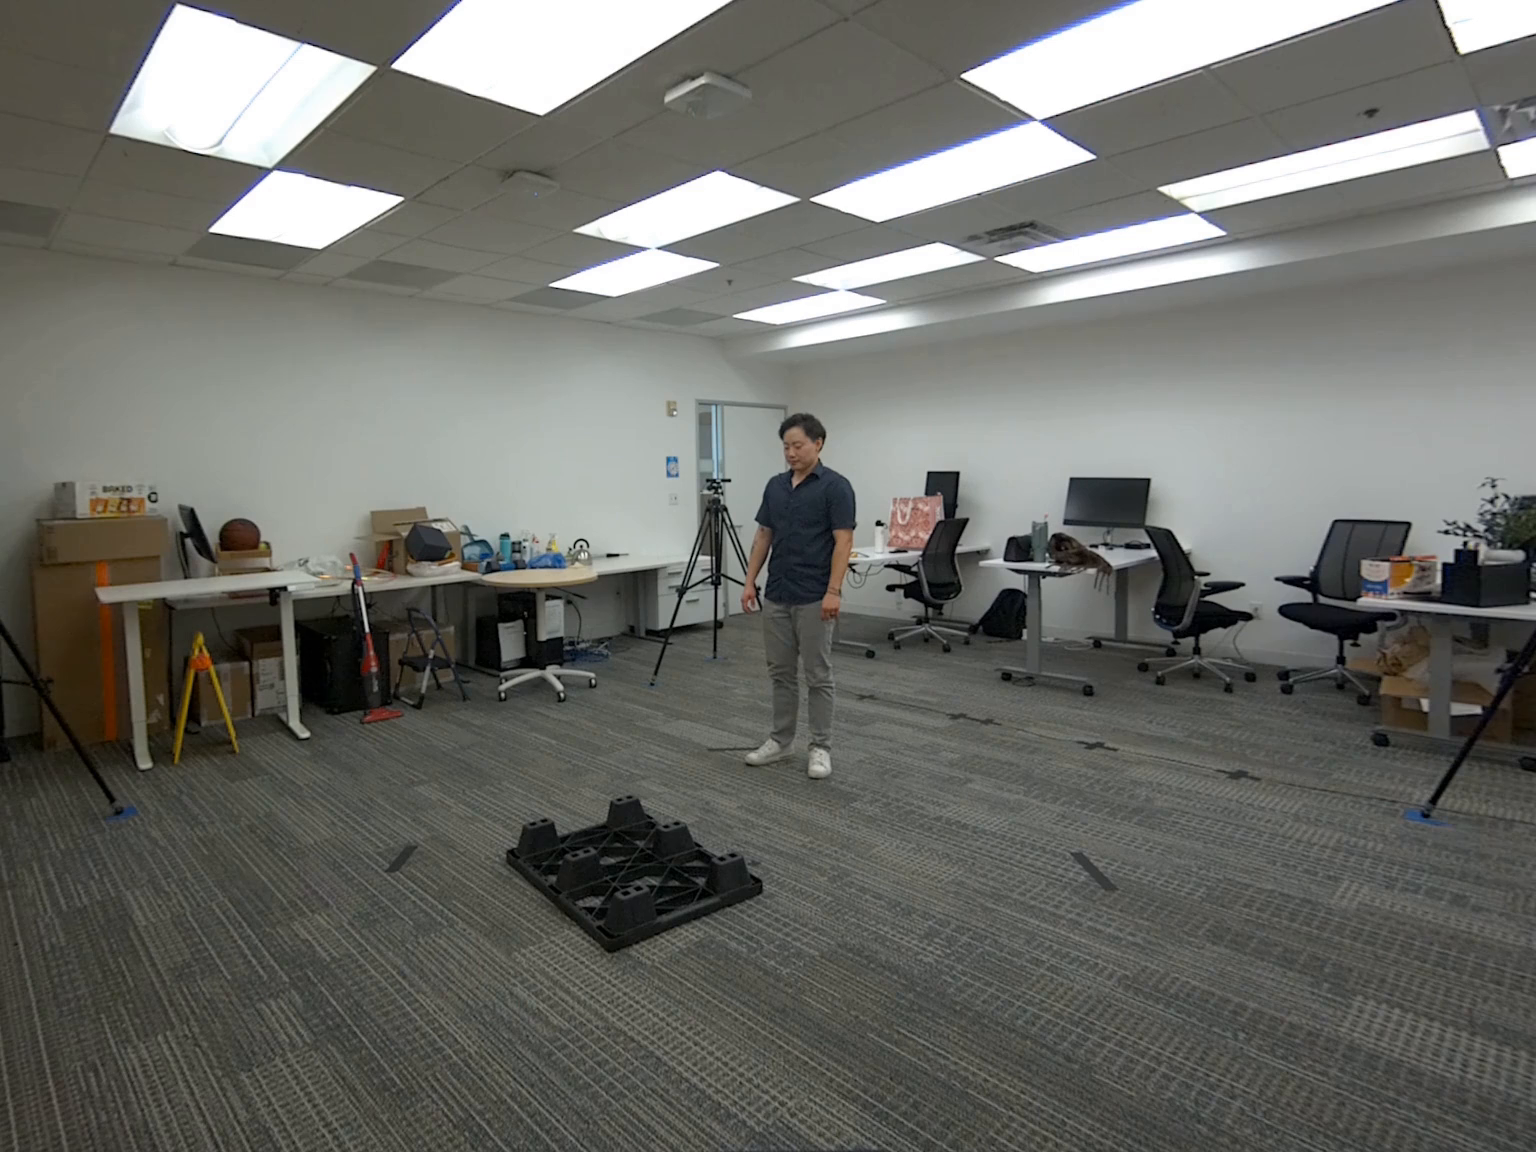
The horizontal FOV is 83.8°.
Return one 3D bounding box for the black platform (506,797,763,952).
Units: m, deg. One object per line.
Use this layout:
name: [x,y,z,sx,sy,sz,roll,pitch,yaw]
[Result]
black platform: [-0.496,0.997,3.021,0.589,0.143,0.830,-6,8,-38]
